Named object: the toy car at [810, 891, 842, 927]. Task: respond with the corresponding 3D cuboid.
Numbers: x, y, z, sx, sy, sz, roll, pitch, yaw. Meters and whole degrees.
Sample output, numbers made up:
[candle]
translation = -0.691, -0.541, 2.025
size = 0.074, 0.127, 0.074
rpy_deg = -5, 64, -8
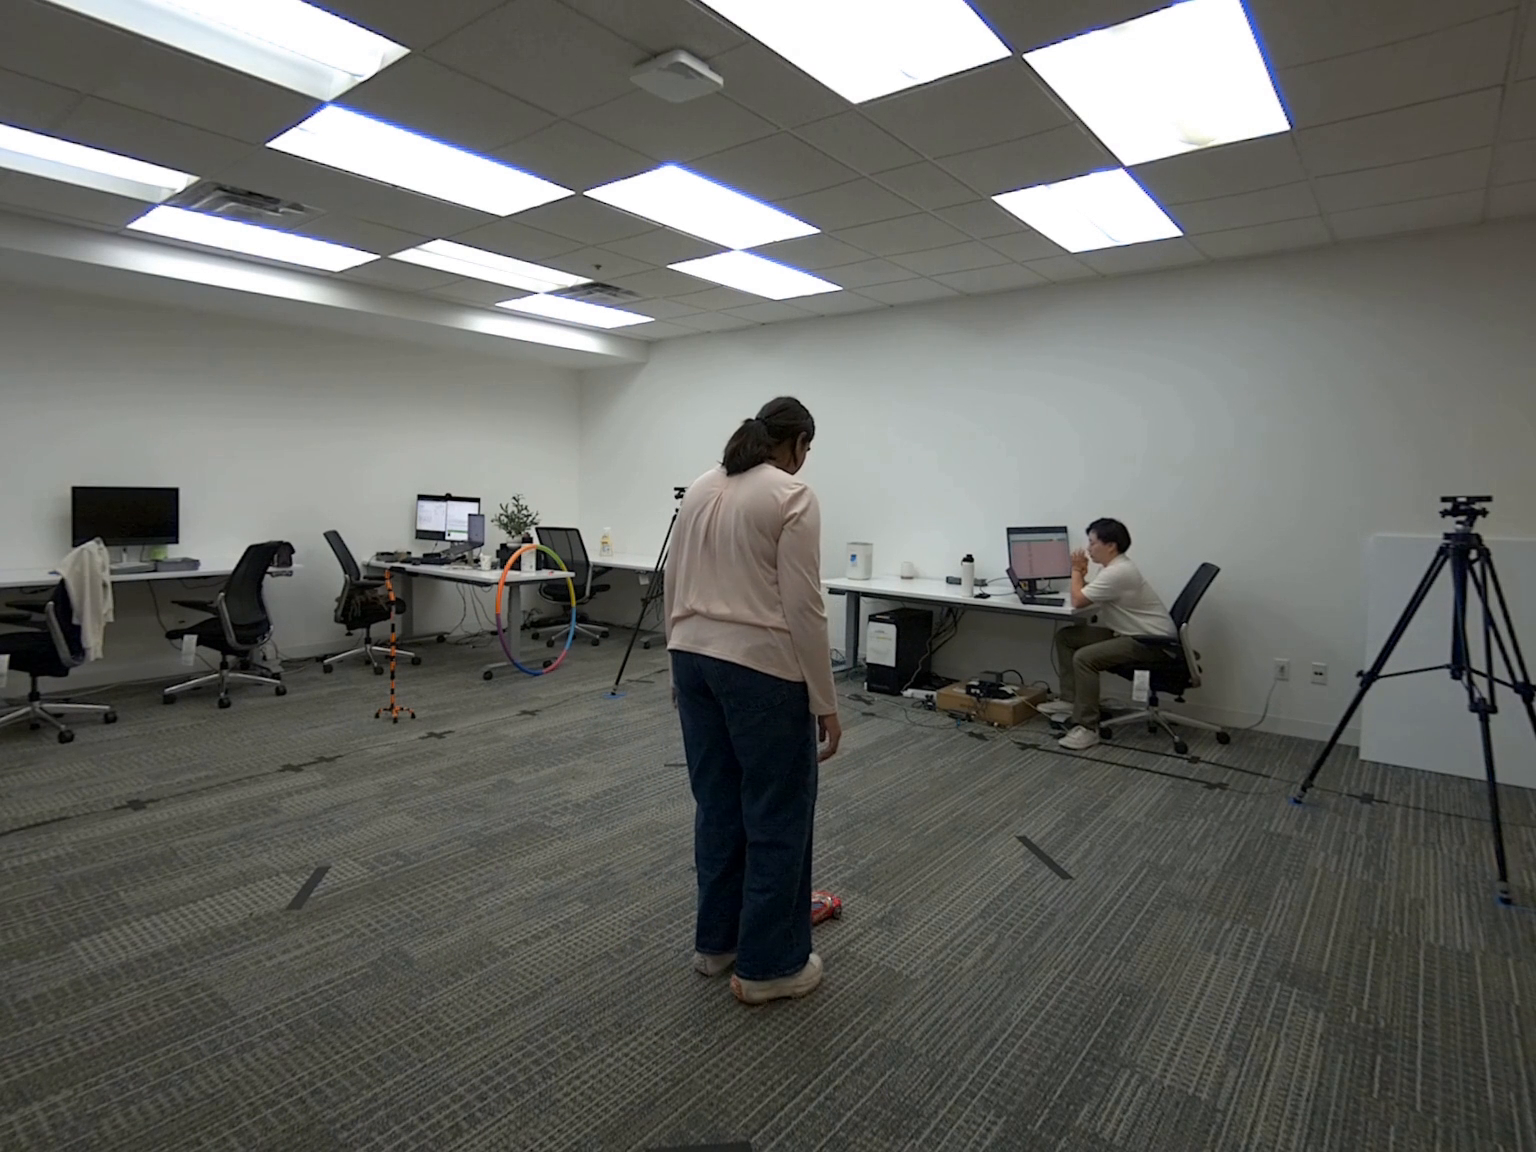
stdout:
[toy car]
translation = 0.119, 1.081, 2.743
size = 0.245, 0.083, 0.135
rpy_deg = 11, -3, -40
